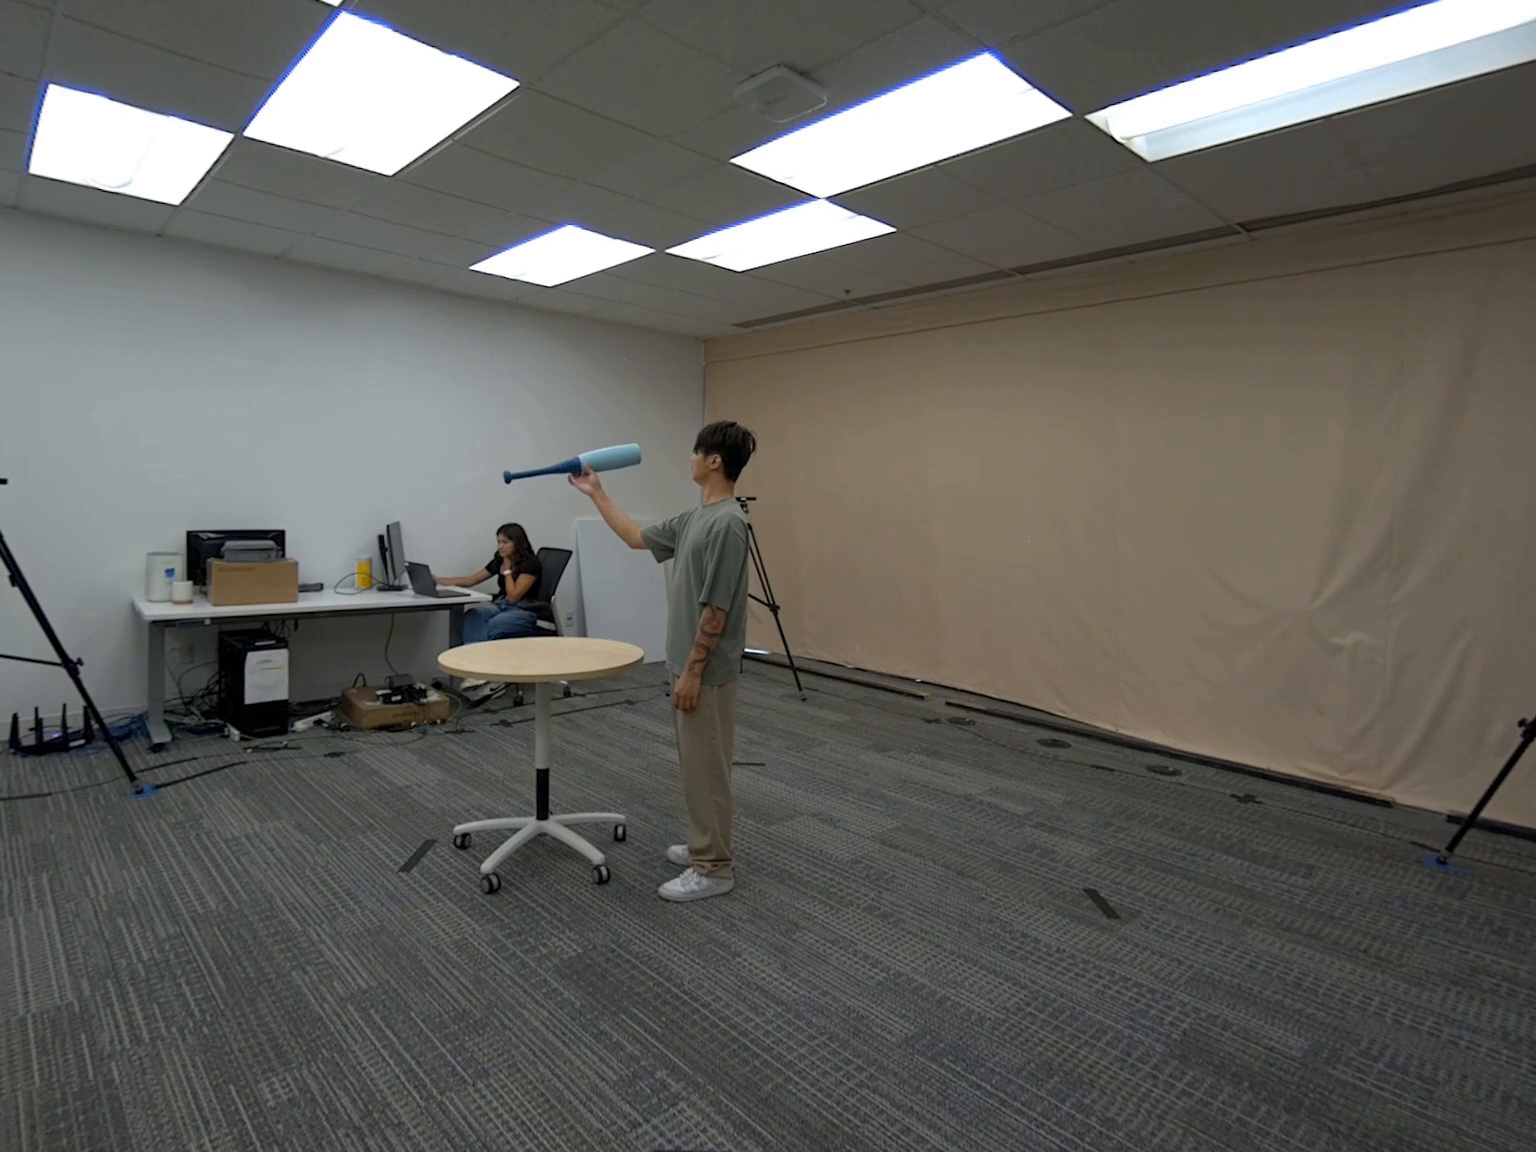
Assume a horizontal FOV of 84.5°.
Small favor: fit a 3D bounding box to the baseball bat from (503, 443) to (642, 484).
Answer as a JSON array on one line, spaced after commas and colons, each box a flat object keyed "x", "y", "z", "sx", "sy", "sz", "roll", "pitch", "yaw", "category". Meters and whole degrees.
[{"x": -0.762, "y": -0.427, "z": 3.268, "sx": 0.536, "sy": 0.088, "sz": 0.091, "roll": -15, "pitch": 11, "yaw": -24, "category": "baseball bat"}]
